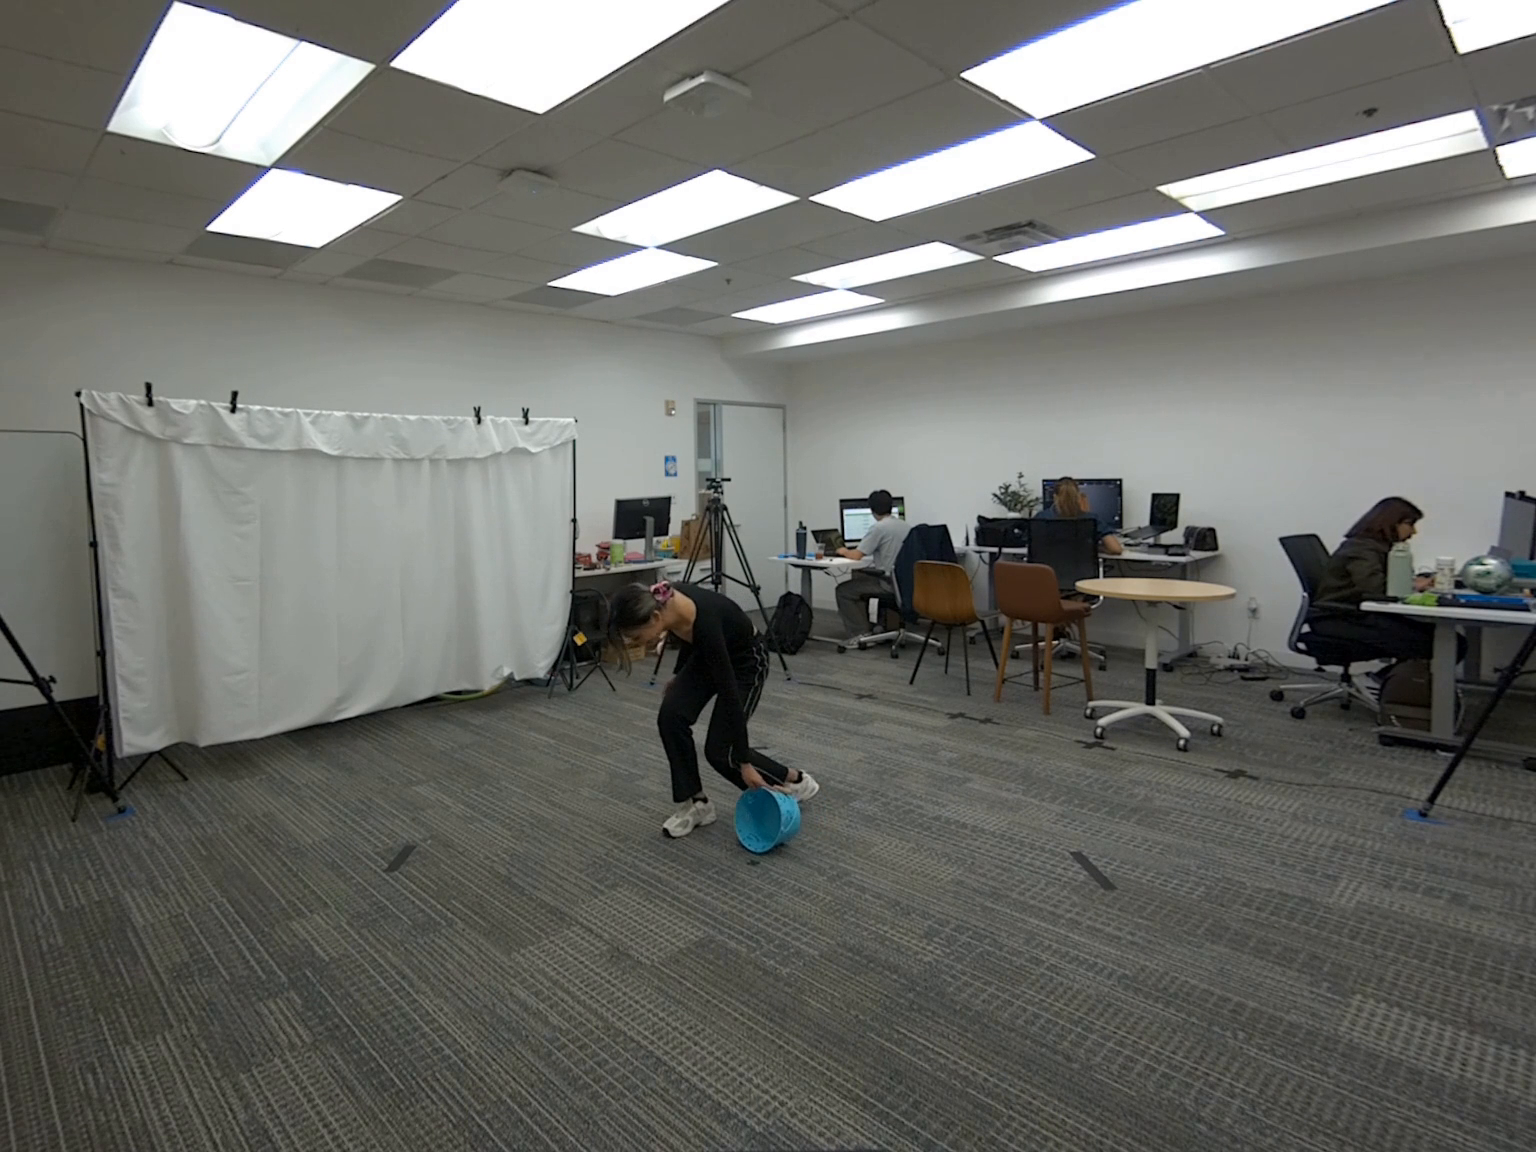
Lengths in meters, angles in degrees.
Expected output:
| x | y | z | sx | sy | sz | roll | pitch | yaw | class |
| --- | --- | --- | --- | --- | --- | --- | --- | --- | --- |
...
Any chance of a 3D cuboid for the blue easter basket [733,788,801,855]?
| x | y | z | sx | sy | sz | roll | pitch | yaw | class |
| --- | --- | --- | --- | --- | --- | --- | --- | --- | --- |
| 0.010 | 0.914 | 3.238 | 0.251 | 0.245 | 0.150 | 3 | -7 | 40 | blue easter basket |
